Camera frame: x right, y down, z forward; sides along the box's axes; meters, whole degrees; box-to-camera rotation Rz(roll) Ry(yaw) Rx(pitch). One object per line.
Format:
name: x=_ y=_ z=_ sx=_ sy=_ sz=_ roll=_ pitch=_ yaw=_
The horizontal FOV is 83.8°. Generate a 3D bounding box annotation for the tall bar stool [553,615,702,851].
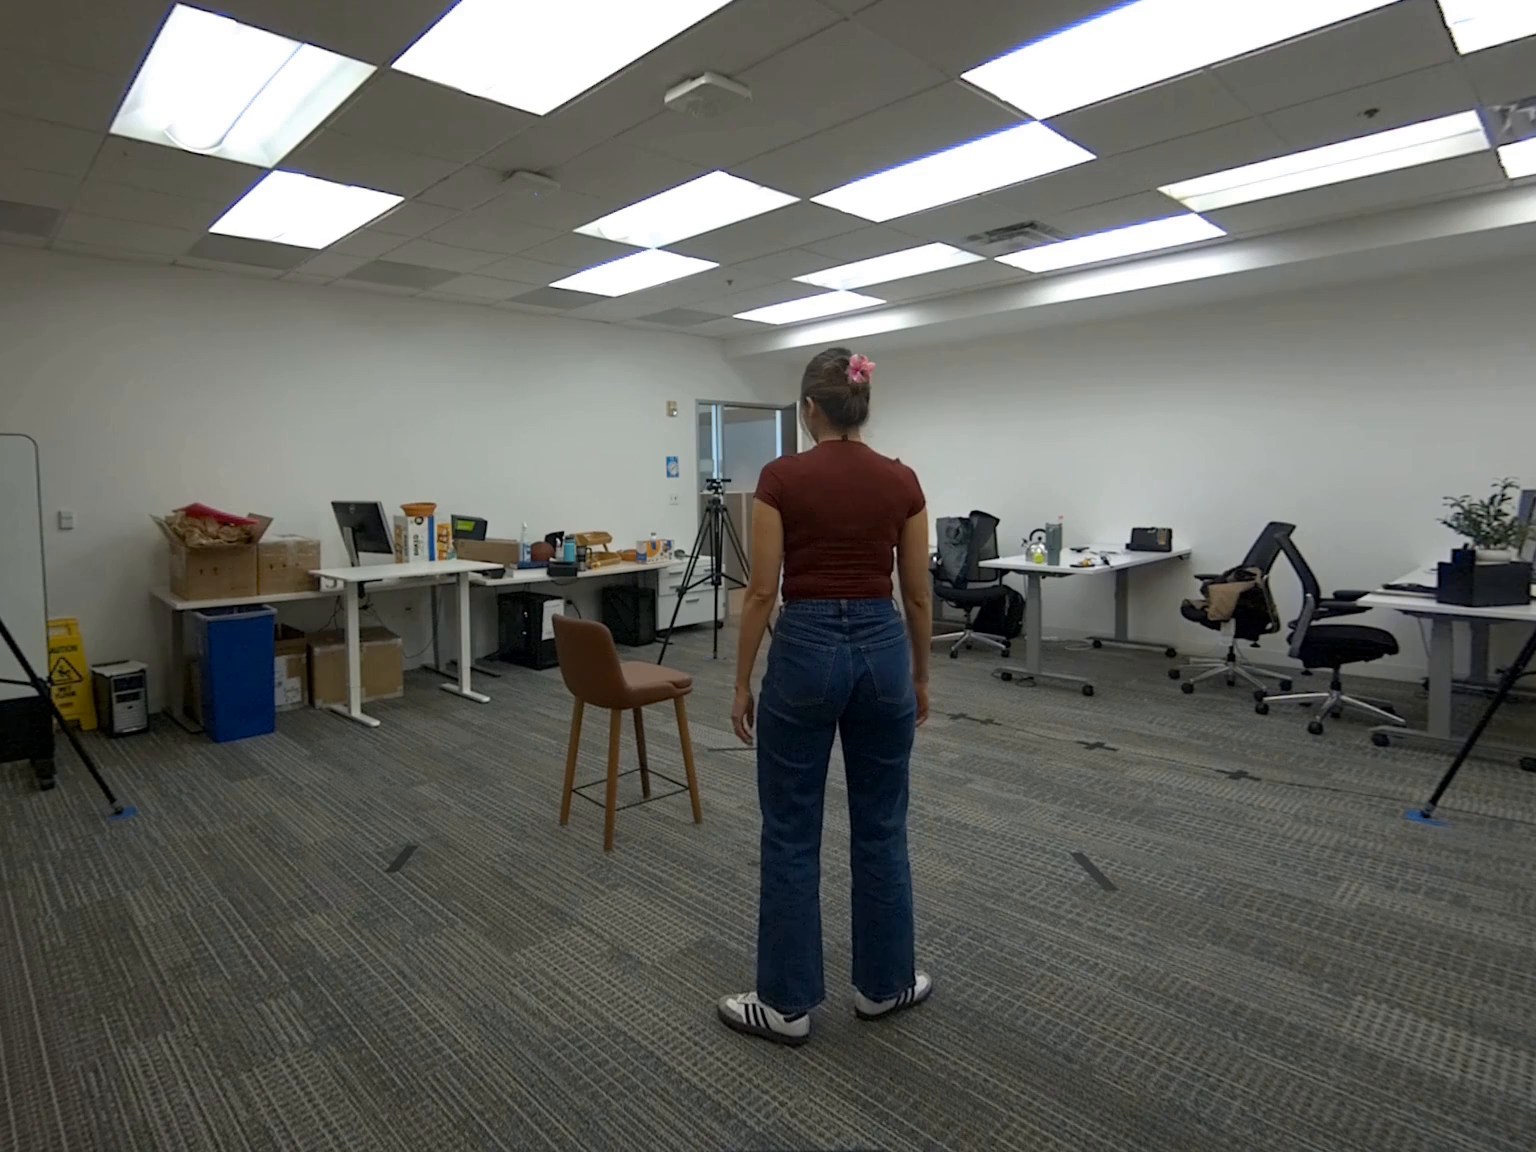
tall bar stool: x=-0.583 y=0.577 z=3.476 sx=0.456 sy=0.886 sz=0.470 roll=-6 pitch=6 yaw=-40
